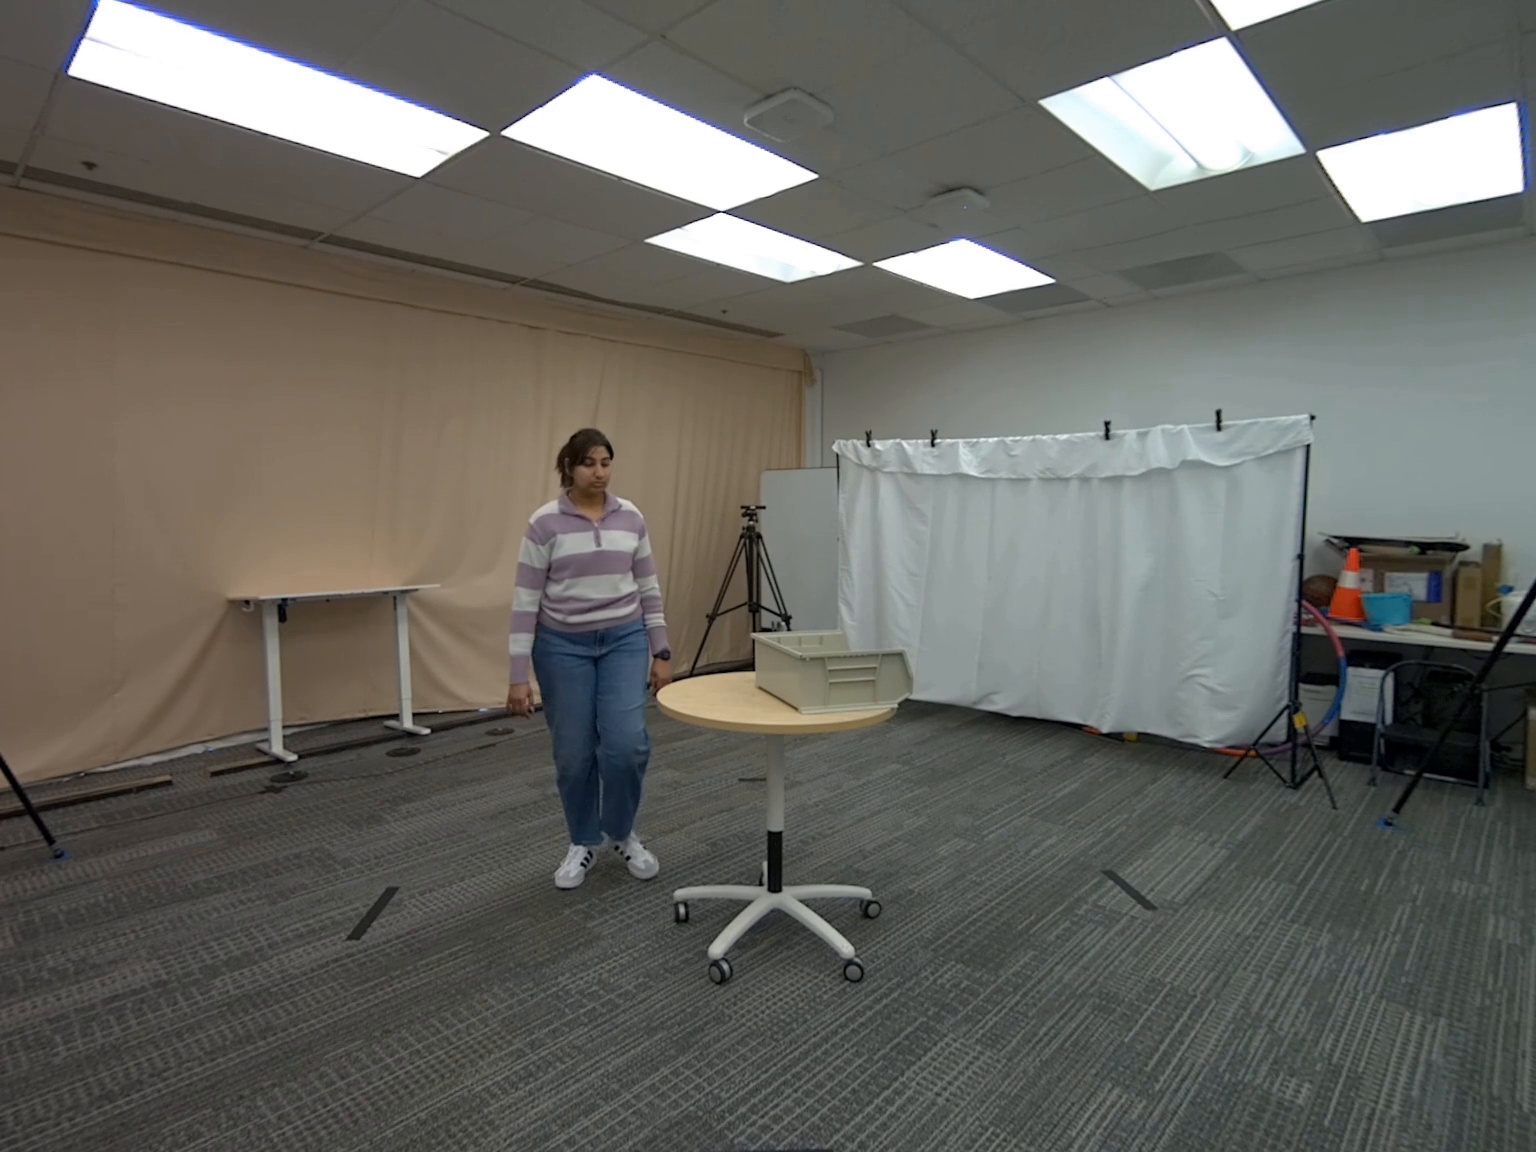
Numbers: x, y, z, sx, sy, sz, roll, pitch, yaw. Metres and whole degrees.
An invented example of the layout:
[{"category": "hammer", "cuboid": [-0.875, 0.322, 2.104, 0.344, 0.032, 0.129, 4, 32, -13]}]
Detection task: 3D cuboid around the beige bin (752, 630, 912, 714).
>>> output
[{"category": "beige bin", "cuboid": [0.201, 0.298, 2.685, 0.371, 0.188, 0.431, -2, 5, -18]}]
